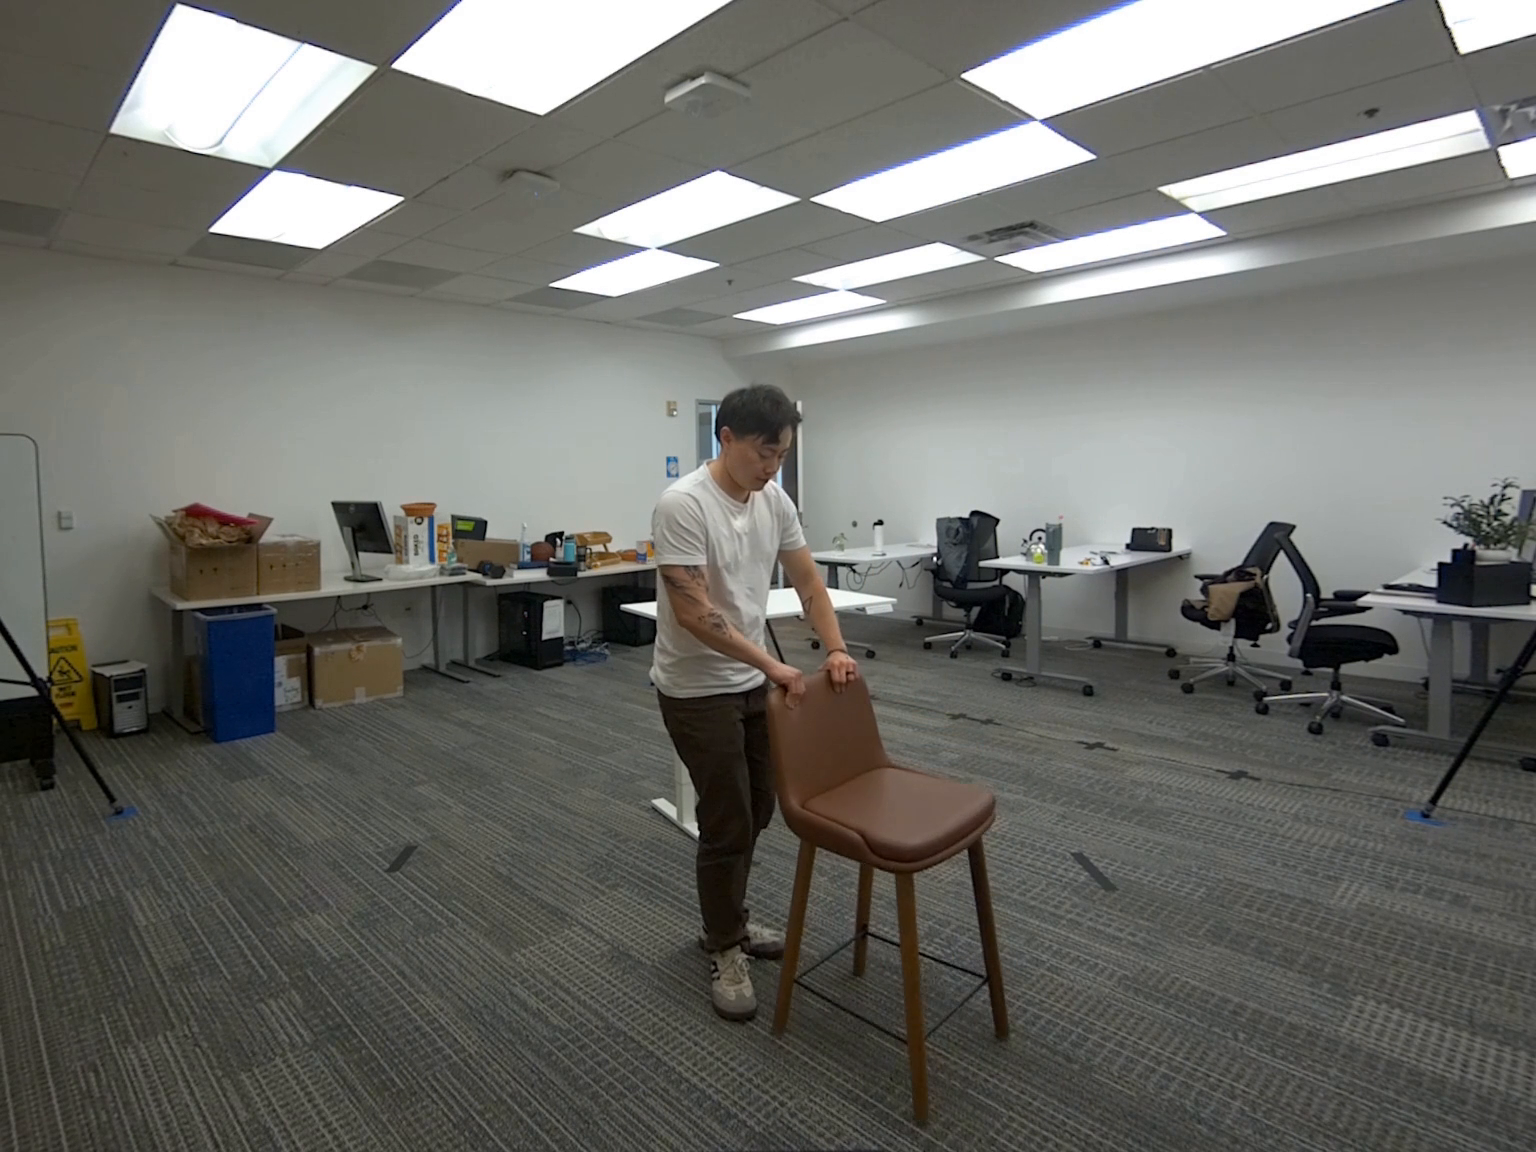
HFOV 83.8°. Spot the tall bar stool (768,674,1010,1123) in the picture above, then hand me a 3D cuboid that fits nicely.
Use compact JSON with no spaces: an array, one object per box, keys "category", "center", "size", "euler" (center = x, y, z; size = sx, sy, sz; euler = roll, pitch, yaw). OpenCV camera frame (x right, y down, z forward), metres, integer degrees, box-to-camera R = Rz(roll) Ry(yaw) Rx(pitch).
[{"category":"tall bar stool","center":[0.285,0.717,2.119],"size":[0.481,0.887,0.444],"euler":[0,4,44]}]
